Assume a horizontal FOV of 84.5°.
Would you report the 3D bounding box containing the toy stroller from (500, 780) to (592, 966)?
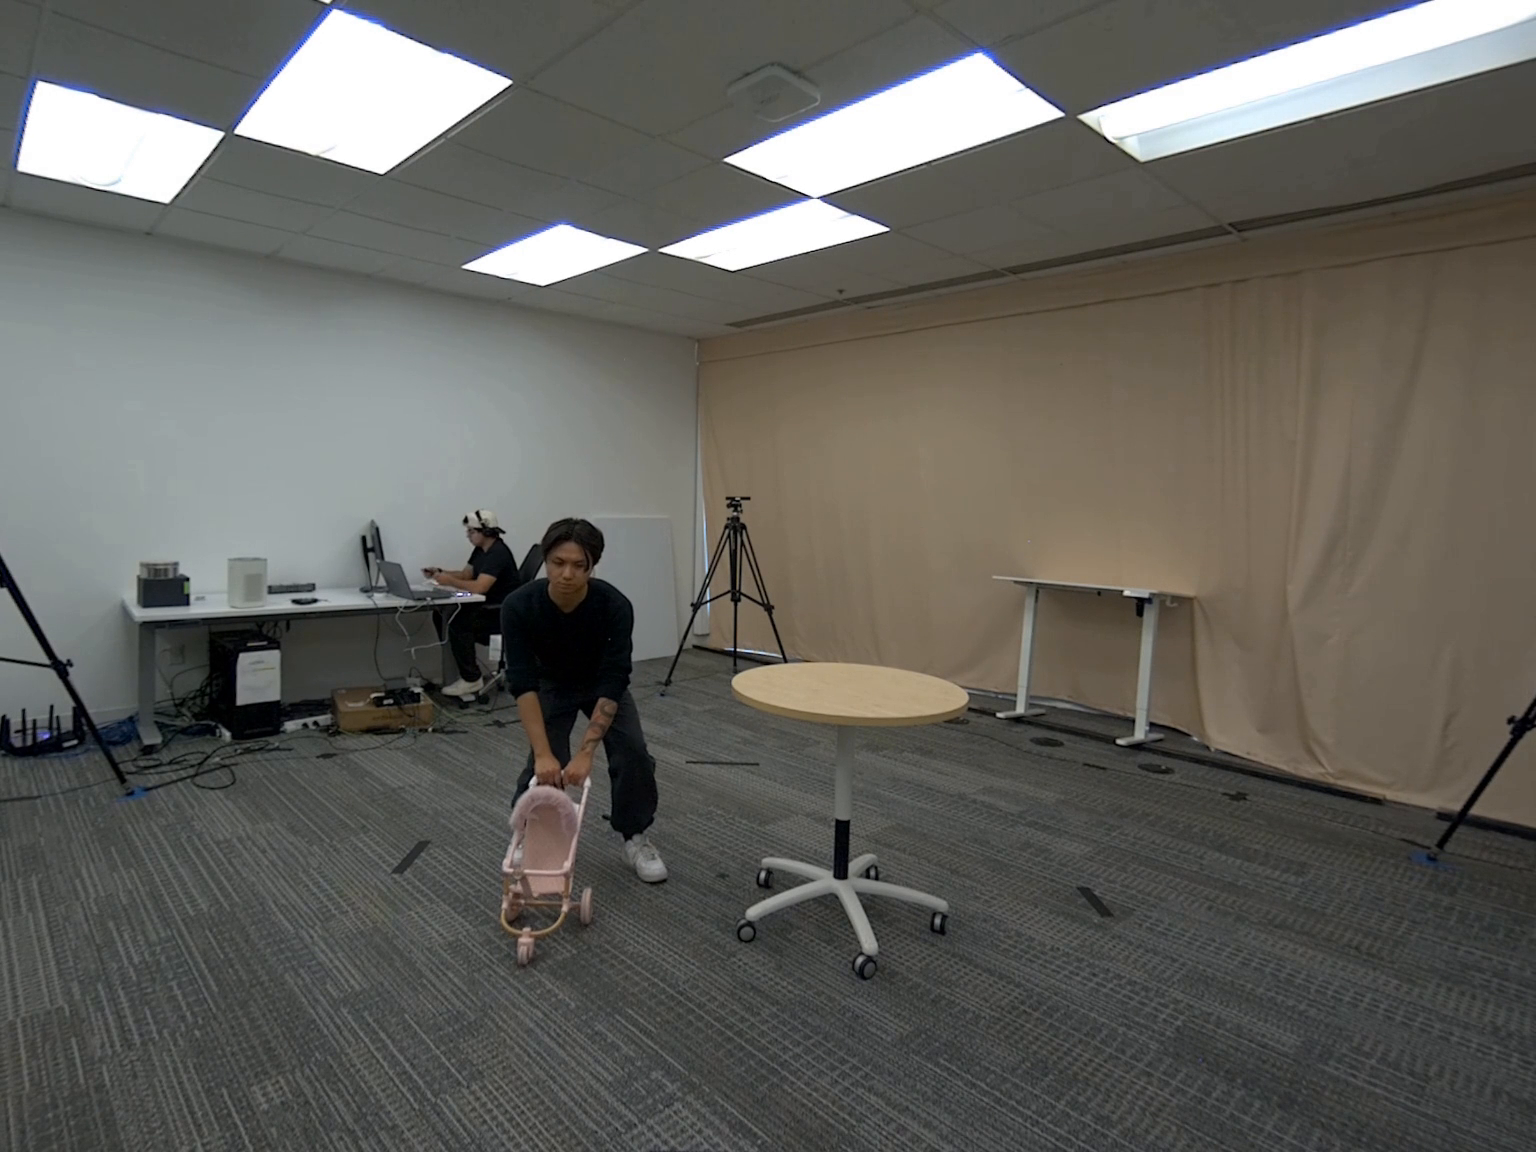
[{"bbox_3d":[-0.724,0.910,2.658,0.283,0.539,0.337,1,-10,5],"label":"toy stroller"}]
